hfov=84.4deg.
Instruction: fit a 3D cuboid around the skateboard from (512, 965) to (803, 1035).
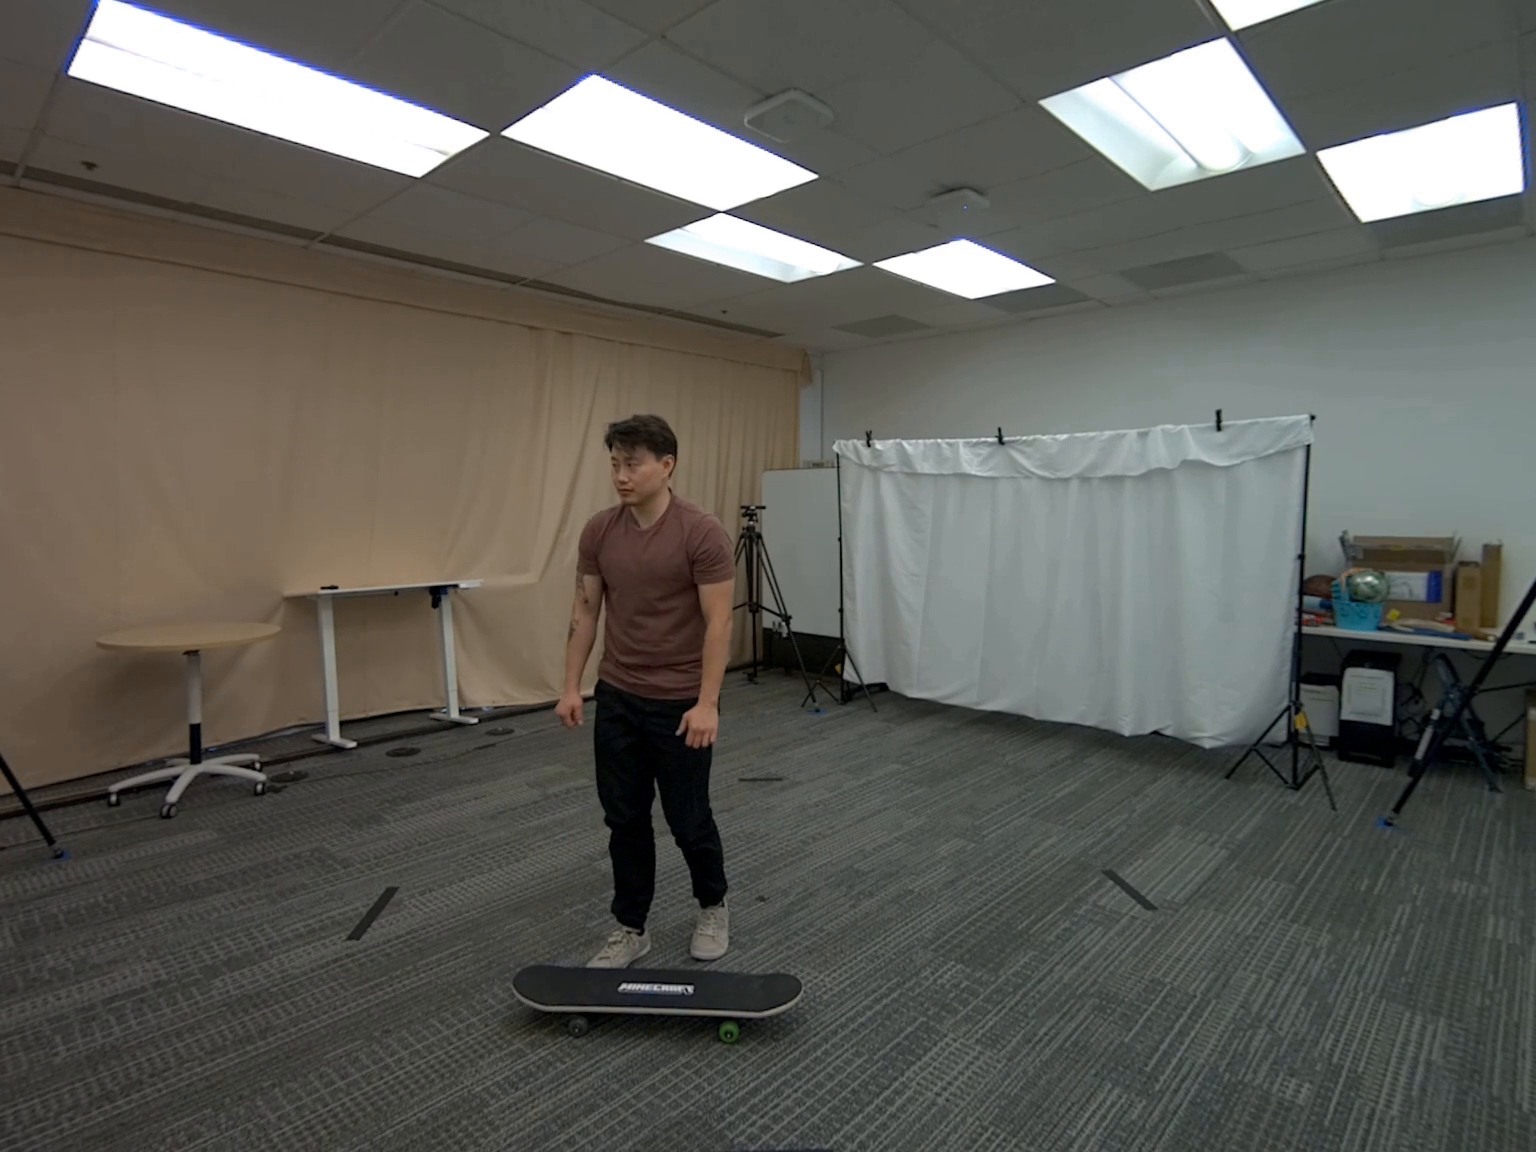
[{"bbox_3d":[-0.297,1.148,2.277,0.789,0.110,0.193,0,3,4],"label":"skateboard"}]
